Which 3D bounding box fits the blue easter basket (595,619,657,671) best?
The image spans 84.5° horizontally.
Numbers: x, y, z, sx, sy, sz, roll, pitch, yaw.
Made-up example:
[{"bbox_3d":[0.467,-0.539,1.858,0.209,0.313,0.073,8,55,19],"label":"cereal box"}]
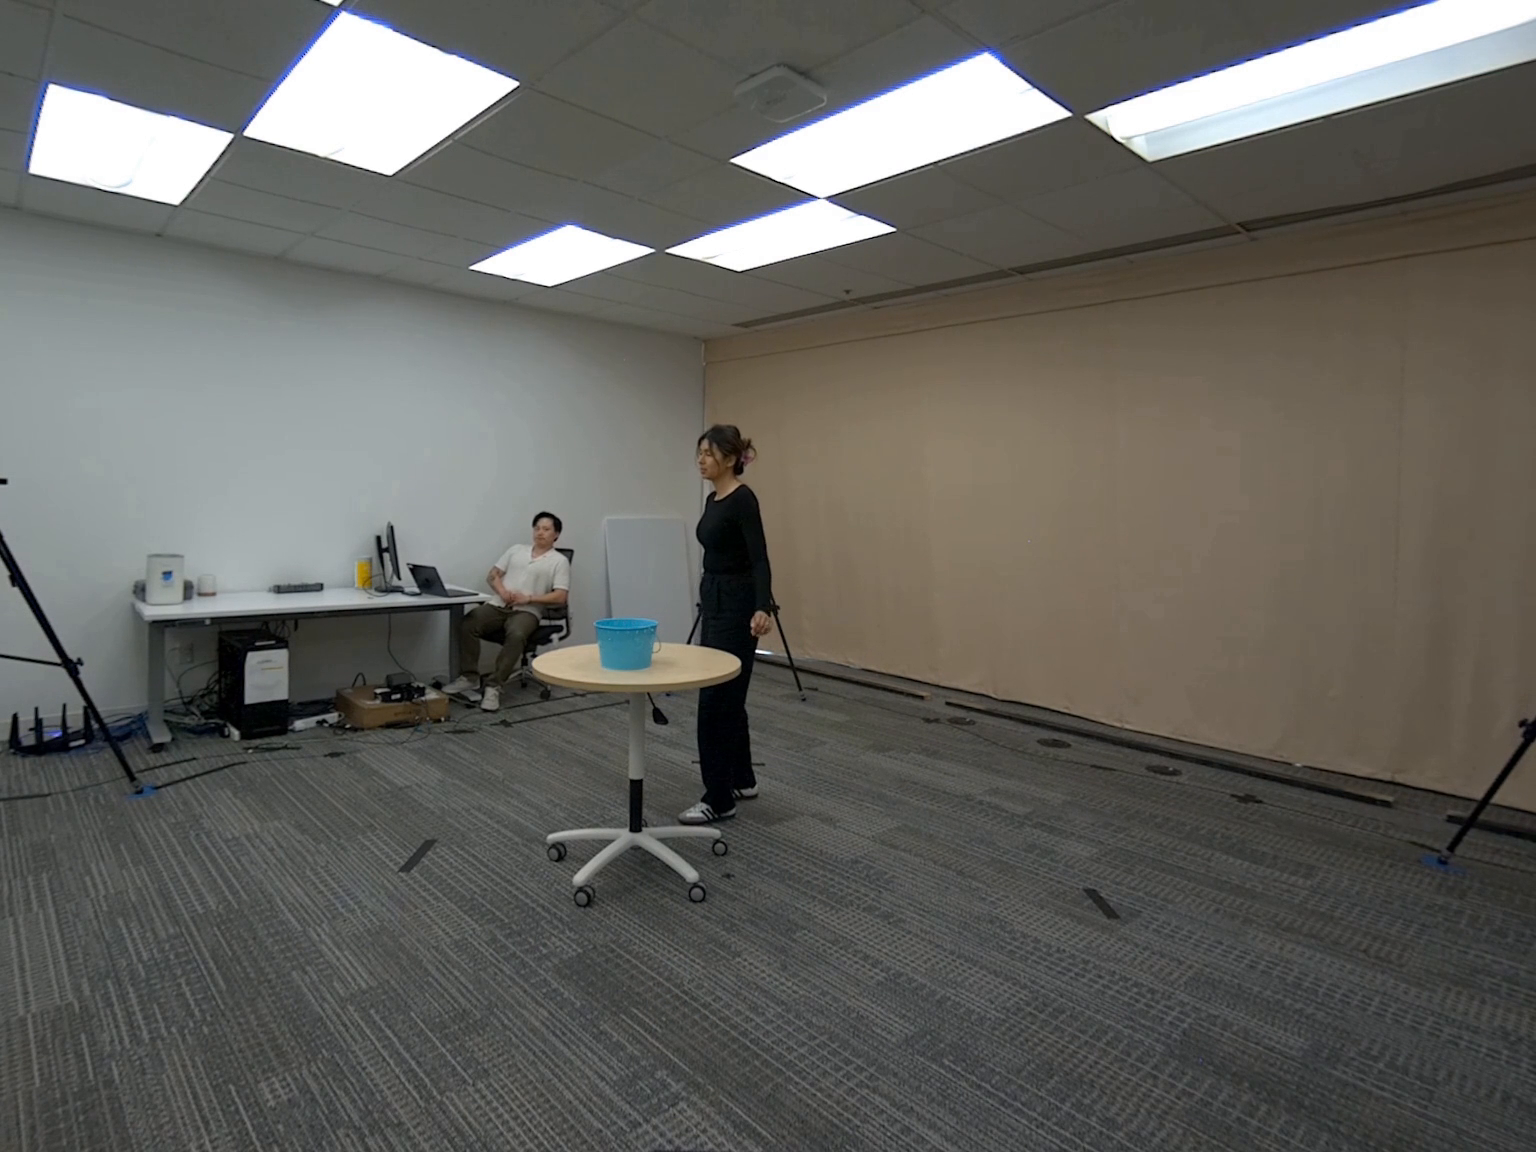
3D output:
[{"bbox_3d":[-0.516,0.250,3.039,0.243,0.155,0.244,0,5,-1],"label":"blue easter basket"}]
